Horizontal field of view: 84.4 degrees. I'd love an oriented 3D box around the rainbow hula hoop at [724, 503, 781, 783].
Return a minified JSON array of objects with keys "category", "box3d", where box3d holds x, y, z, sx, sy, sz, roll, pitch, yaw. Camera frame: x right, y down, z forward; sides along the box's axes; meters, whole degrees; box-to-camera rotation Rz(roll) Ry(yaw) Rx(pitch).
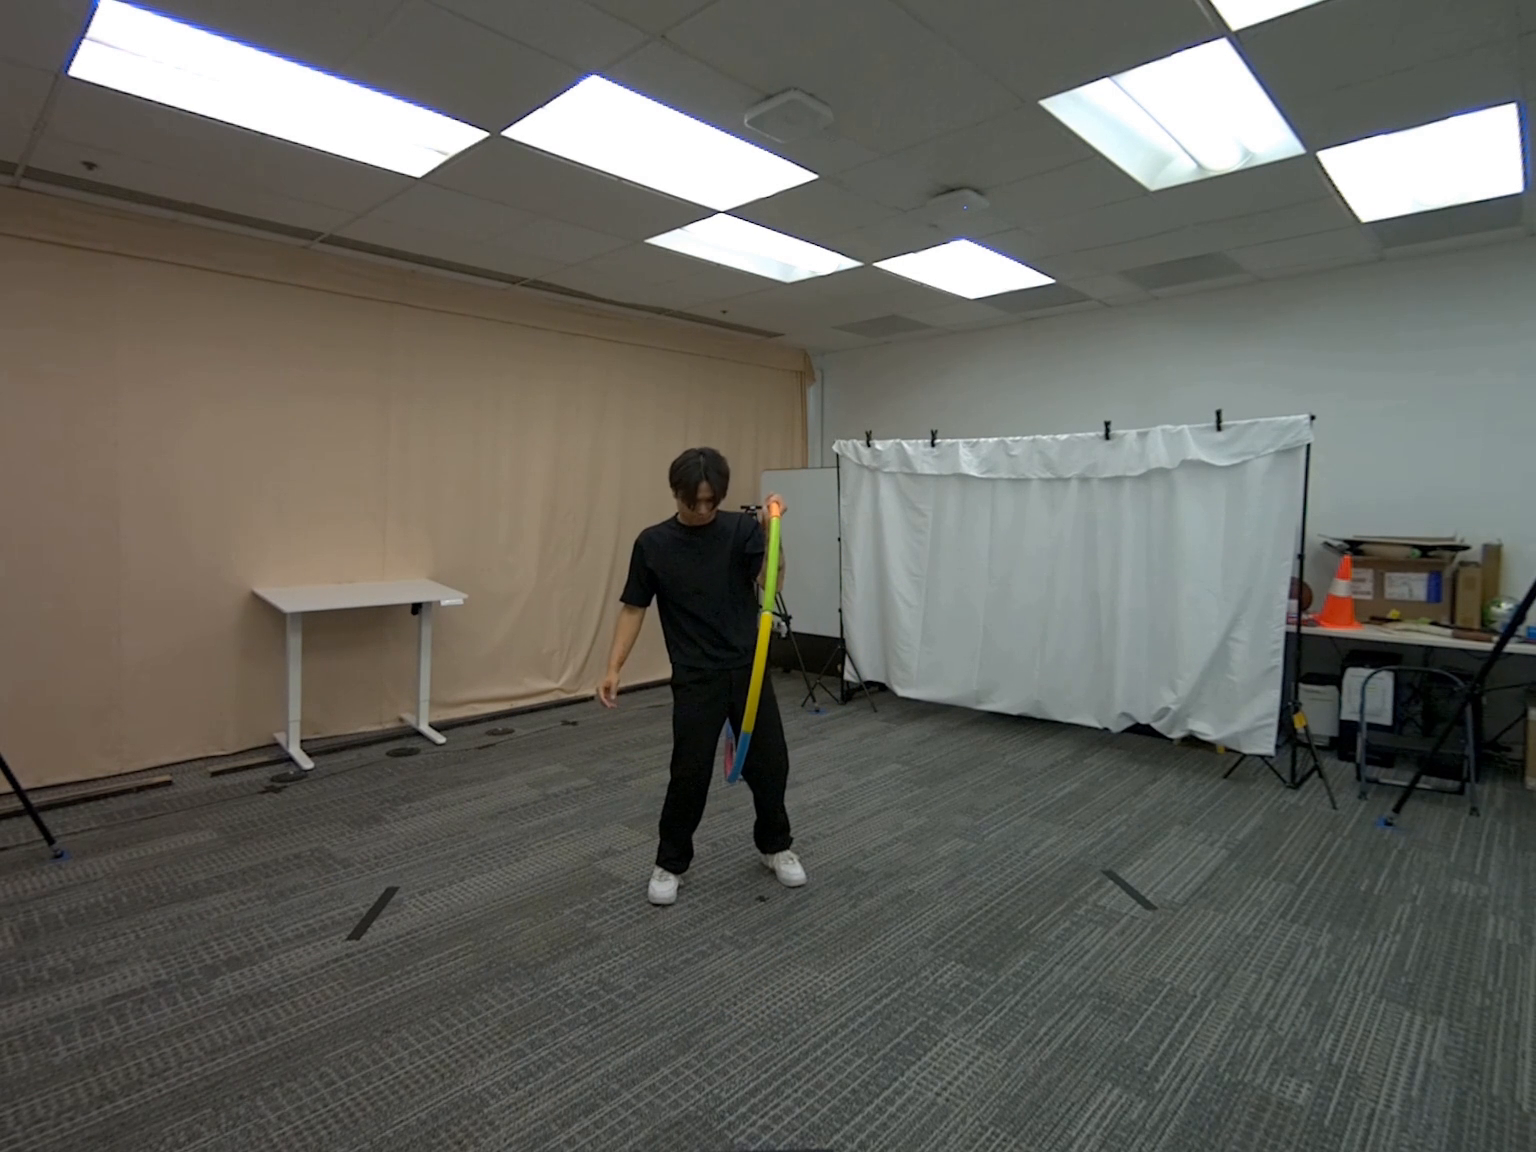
[{"category":"rainbow hula hoop","box3d":[-0.050,0.218,2.993,0.035,0.977,0.984,8,3,-6]}]
